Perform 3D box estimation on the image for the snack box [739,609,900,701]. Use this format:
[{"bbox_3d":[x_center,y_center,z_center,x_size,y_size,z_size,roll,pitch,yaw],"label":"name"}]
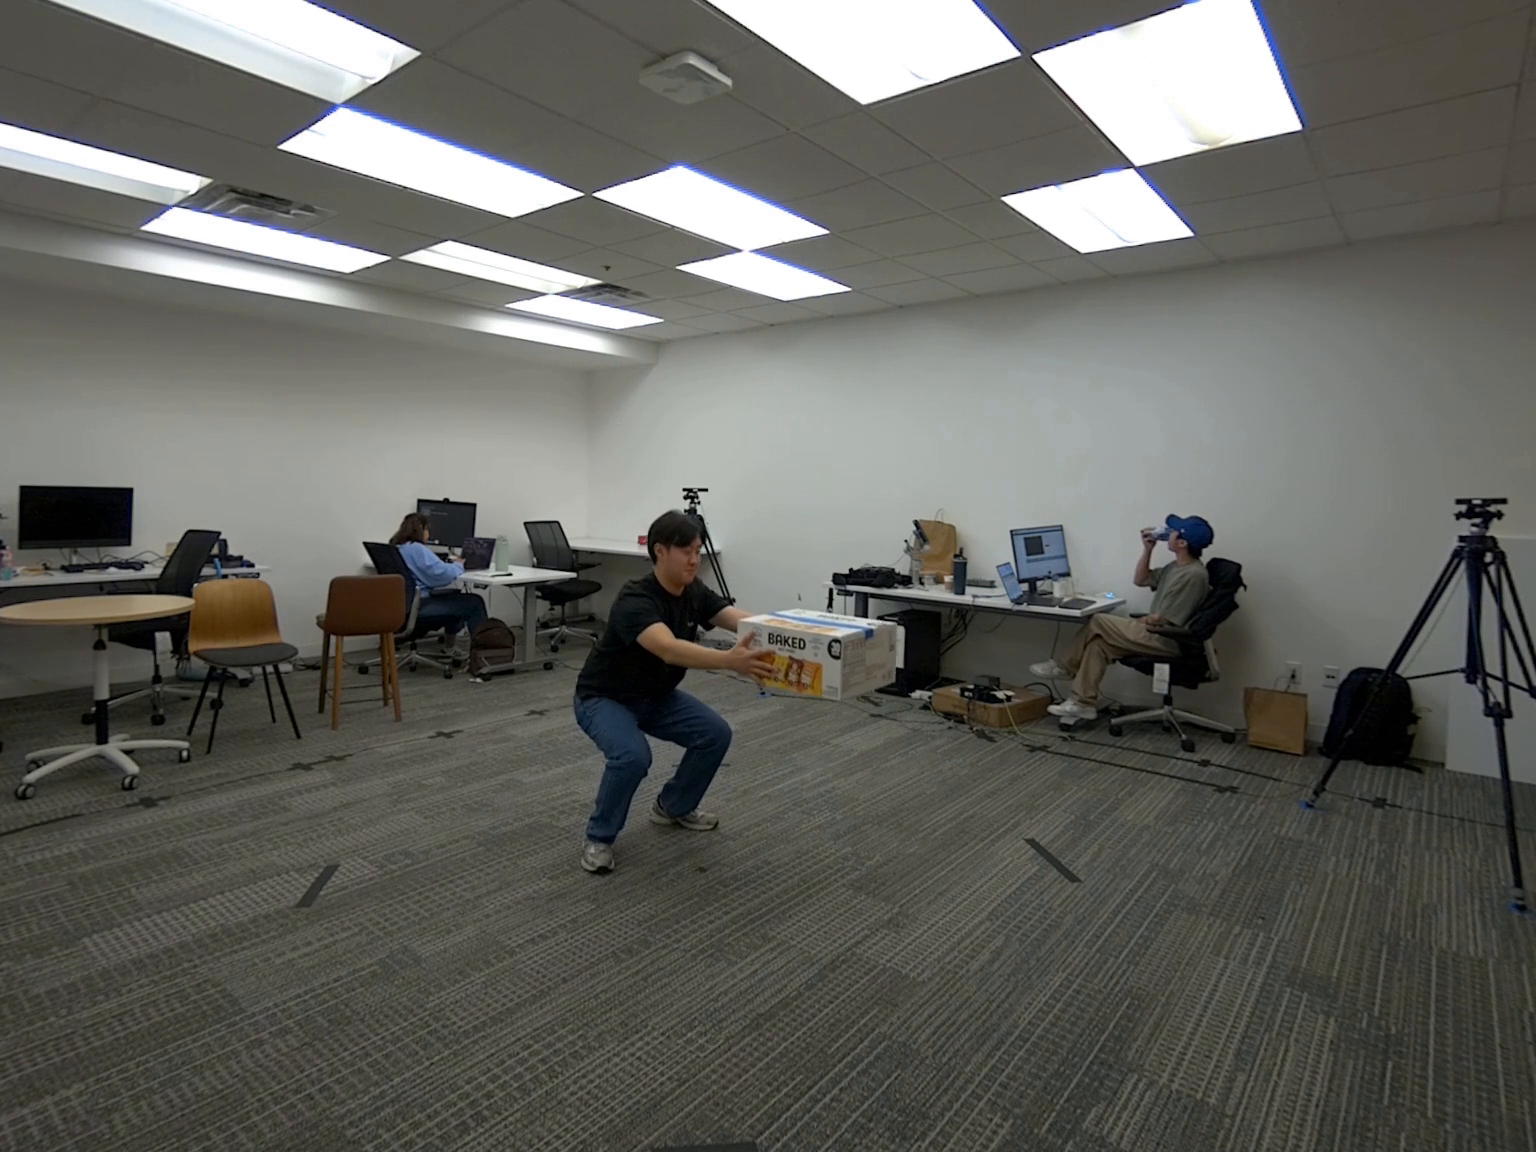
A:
[{"bbox_3d":[0.152,0.243,2.819,0.419,0.204,0.331,7,8,38],"label":"snack box"}]
